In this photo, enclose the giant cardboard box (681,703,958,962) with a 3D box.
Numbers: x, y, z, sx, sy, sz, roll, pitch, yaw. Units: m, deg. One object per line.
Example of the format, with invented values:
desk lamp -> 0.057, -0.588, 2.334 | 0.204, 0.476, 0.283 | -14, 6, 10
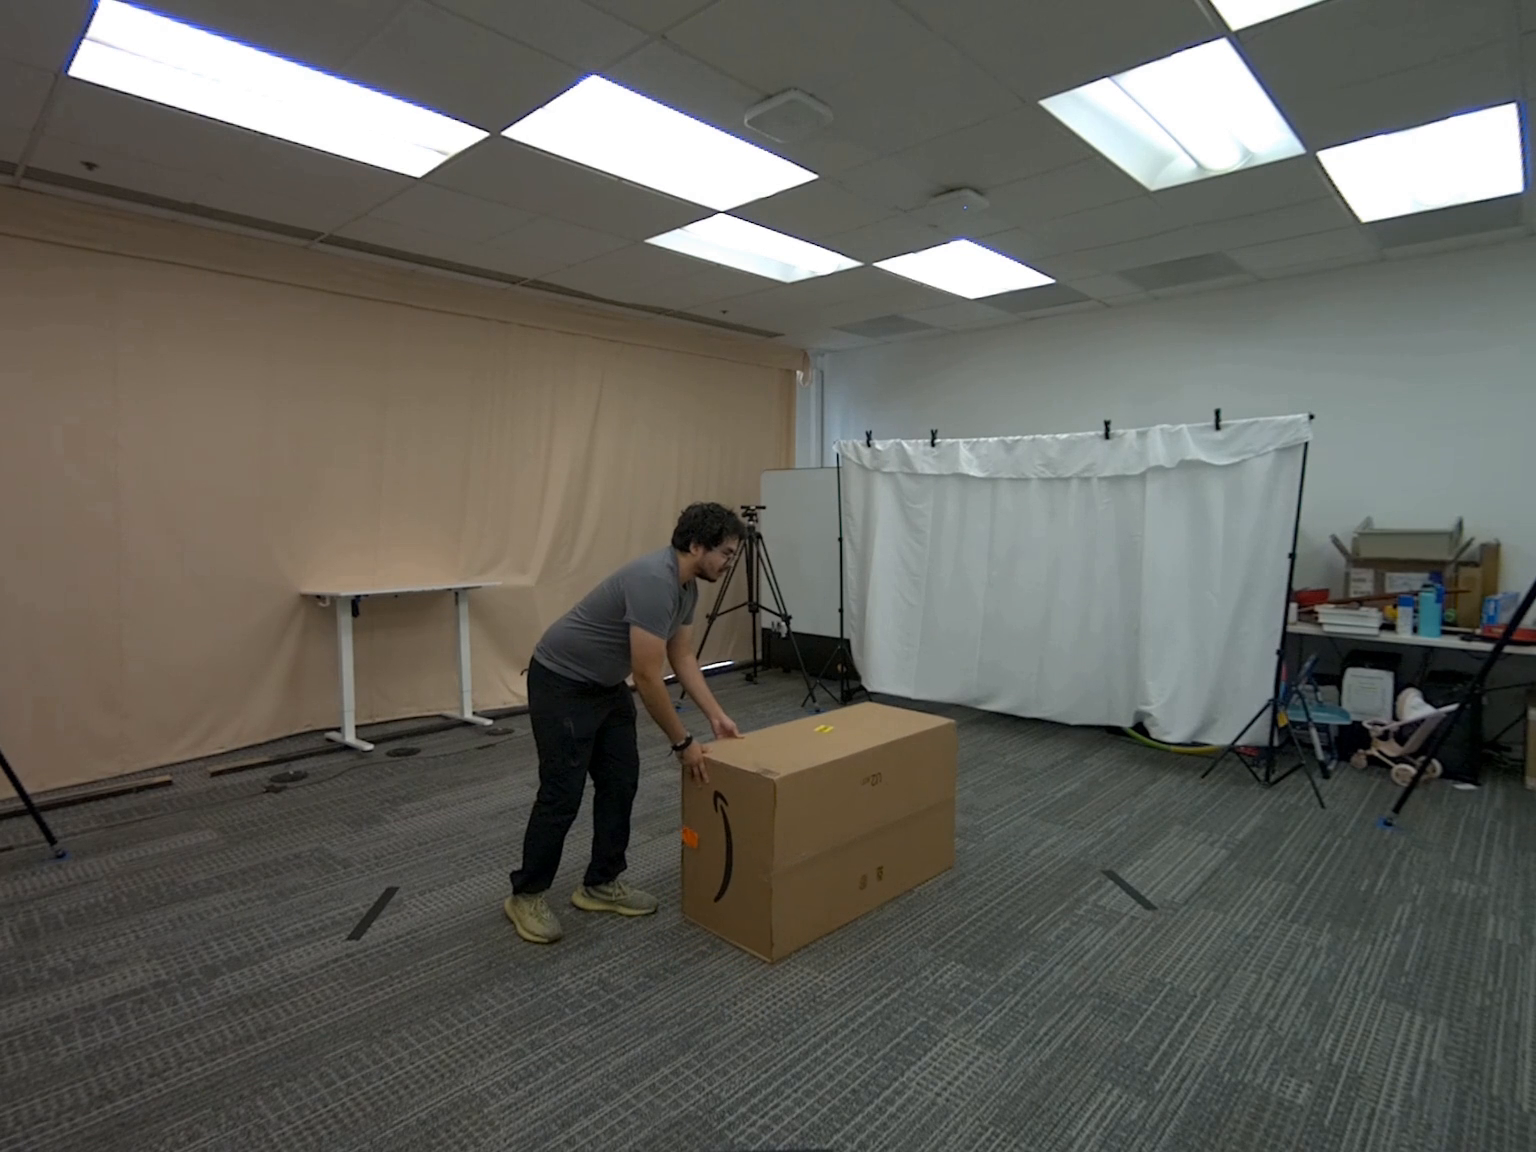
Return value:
giant cardboard box -> 0.215, 0.855, 3.035 | 0.994, 0.576, 0.440 | -4, 6, -45
